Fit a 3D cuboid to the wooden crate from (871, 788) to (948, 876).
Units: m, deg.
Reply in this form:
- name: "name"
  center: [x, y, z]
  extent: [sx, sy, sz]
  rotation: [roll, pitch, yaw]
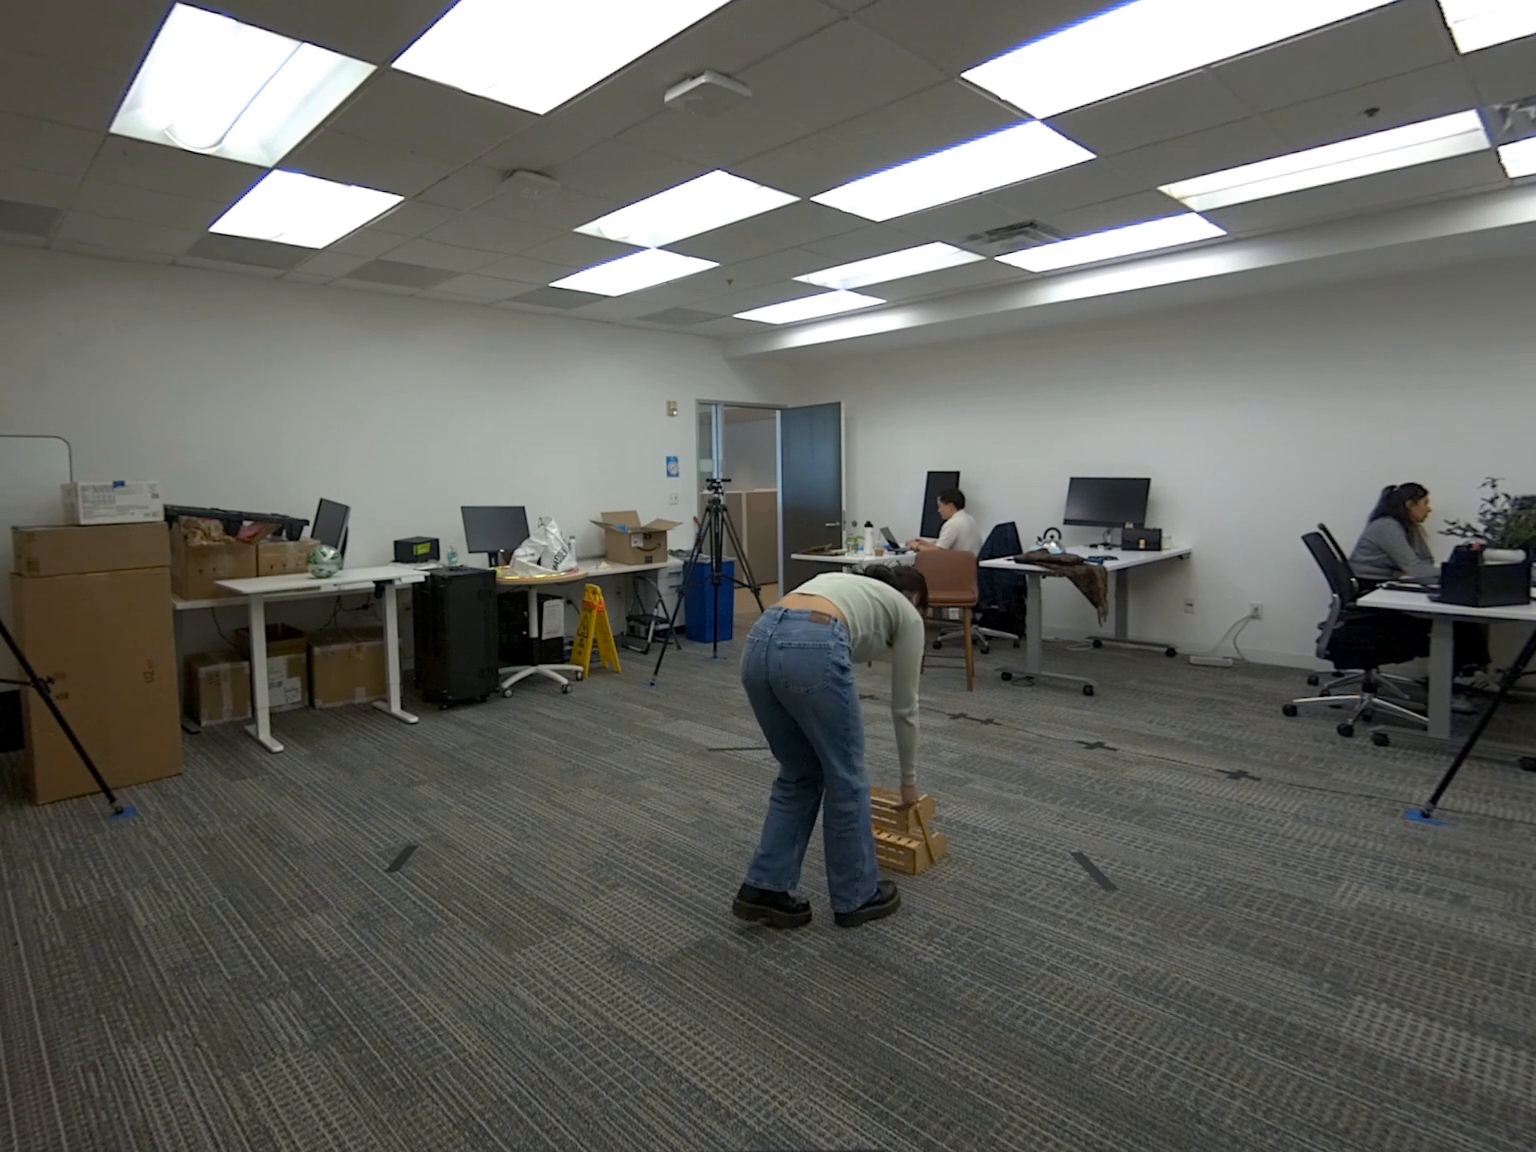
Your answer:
- name: "wooden crate"
  center: [0.457, 0.896, 3.151]
  extent: [0.334, 0.272, 0.294]
  rotation: [3, 7, 39]
